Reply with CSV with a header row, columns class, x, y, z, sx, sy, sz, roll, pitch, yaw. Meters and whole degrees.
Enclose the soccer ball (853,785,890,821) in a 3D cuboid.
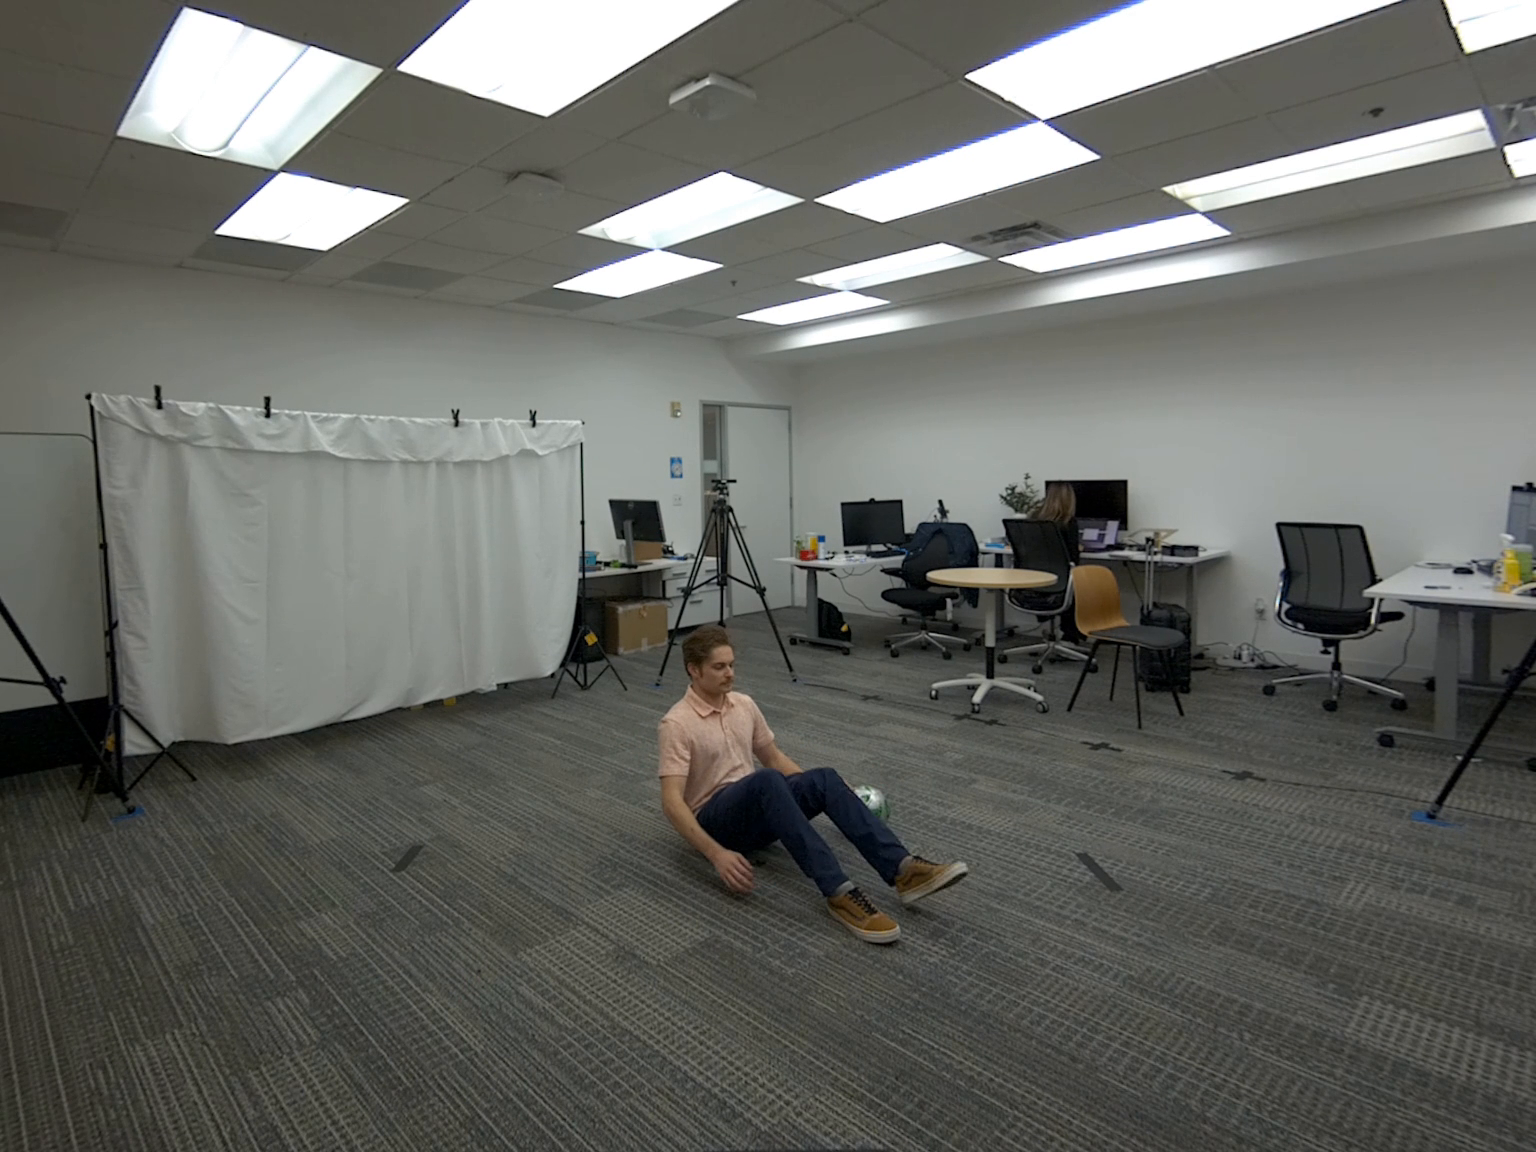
class,x,y,z,sx,sy,sz,roll,pitch,yaw
soccer ball,0.378,0.909,3.351,0.187,0.187,0.188,-1,5,-2
